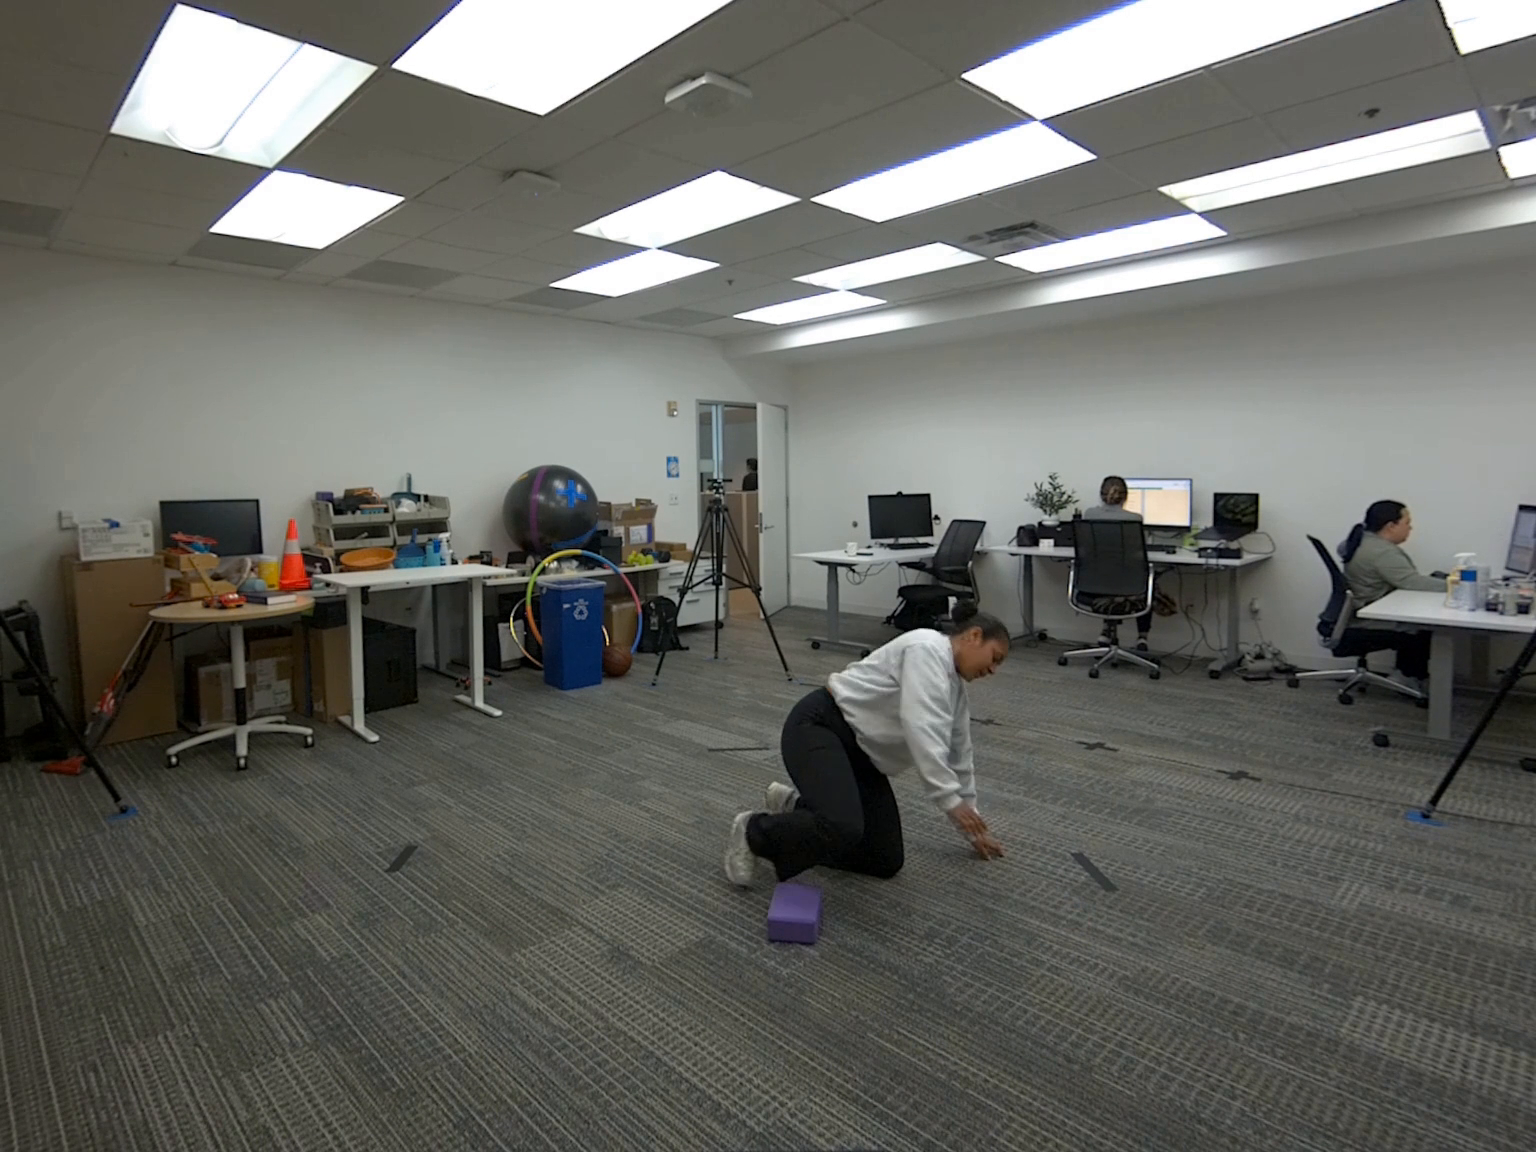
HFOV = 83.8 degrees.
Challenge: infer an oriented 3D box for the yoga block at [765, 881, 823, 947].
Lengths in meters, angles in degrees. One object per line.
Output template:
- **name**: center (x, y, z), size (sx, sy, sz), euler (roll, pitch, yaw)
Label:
- **yoga block**: center (0.089, 1.055, 2.673), size (0.150, 0.076, 0.228), euler (-2, 6, 10)
